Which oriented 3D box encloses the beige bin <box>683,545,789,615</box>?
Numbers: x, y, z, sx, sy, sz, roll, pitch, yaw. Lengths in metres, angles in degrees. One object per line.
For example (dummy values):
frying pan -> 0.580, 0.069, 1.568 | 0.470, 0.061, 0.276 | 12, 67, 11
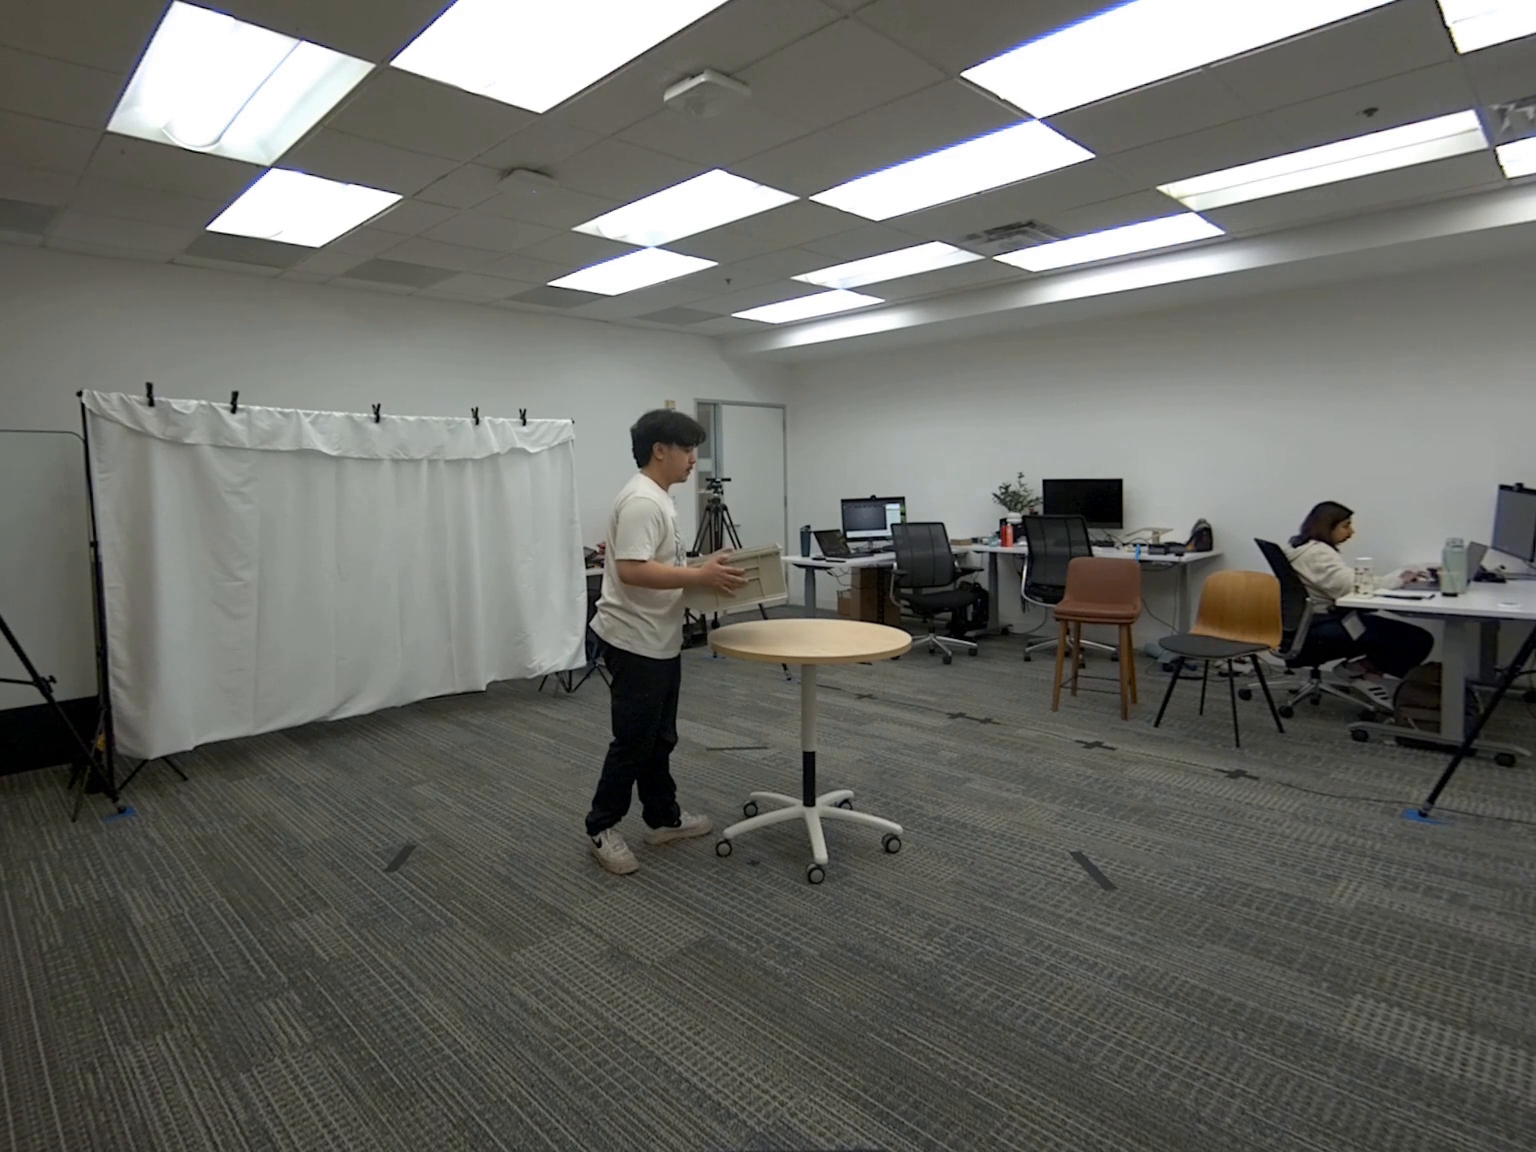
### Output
beige bin -> -0.120, 0.011, 3.214 | 0.378, 0.189, 0.421 | -8, 2, 2
